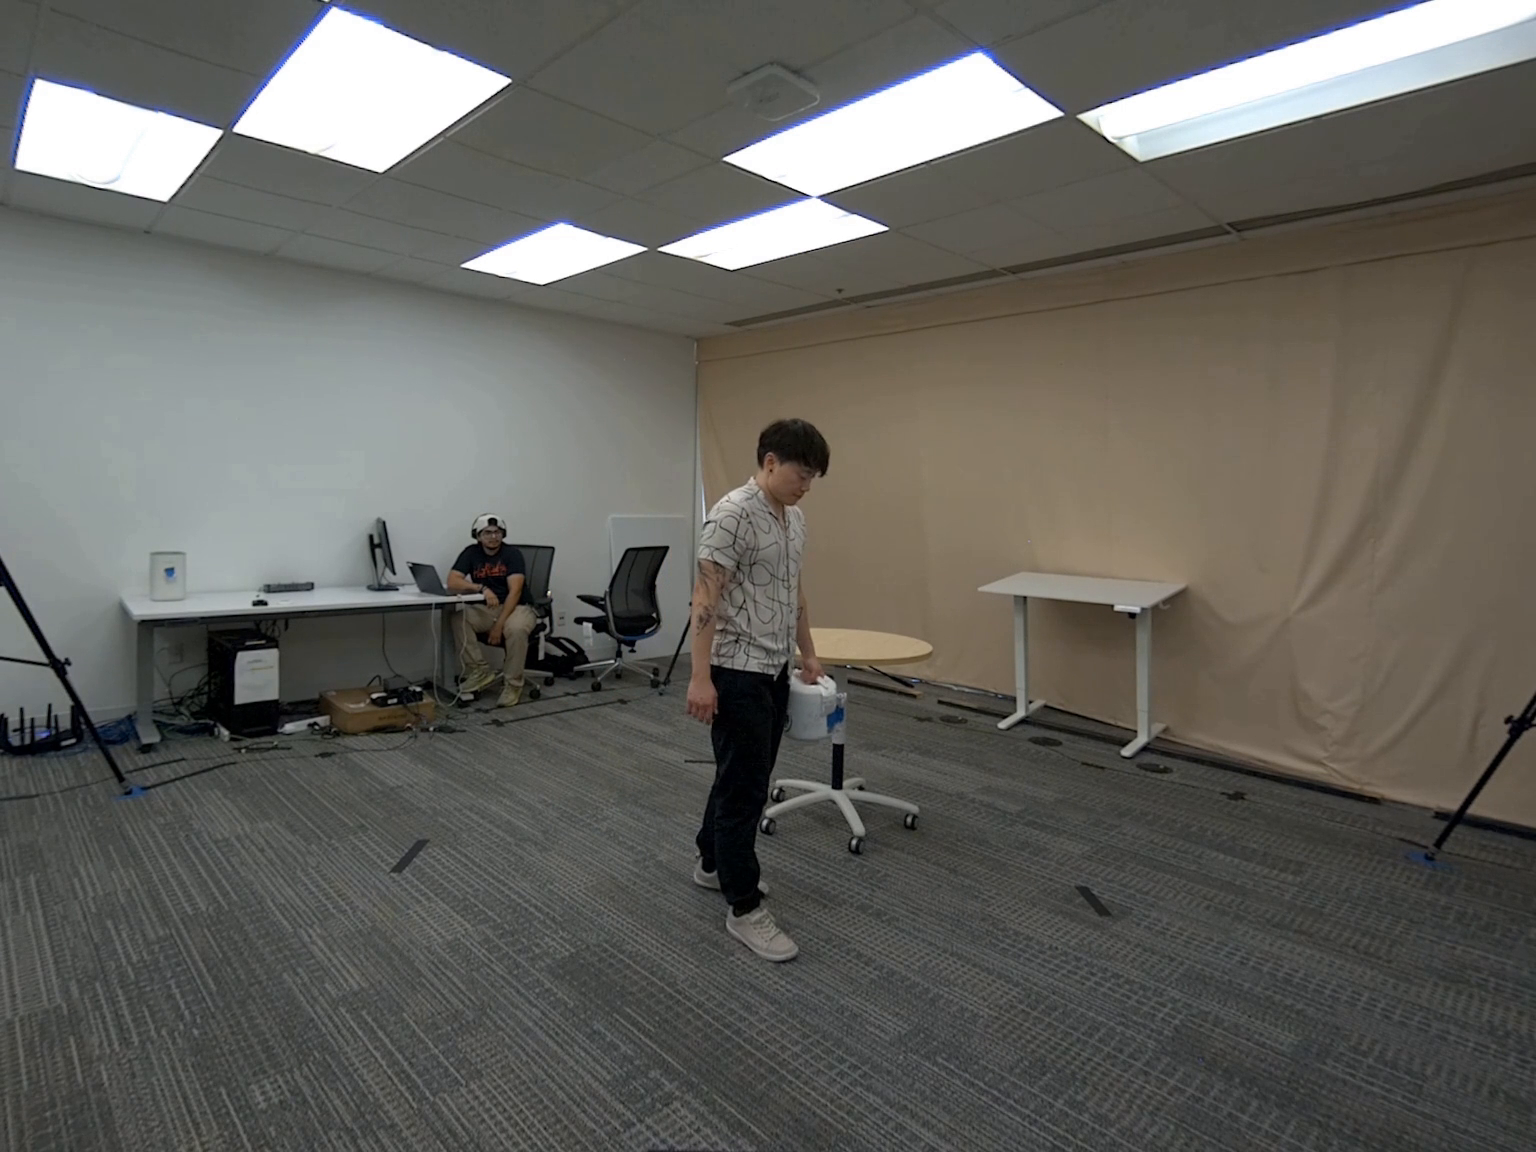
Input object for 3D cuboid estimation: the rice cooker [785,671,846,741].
[{"bbox_3d":[0.130,0.456,3.008,0.213,0.231,0.227,-7,14,-40],"label":"rice cooker"}]
